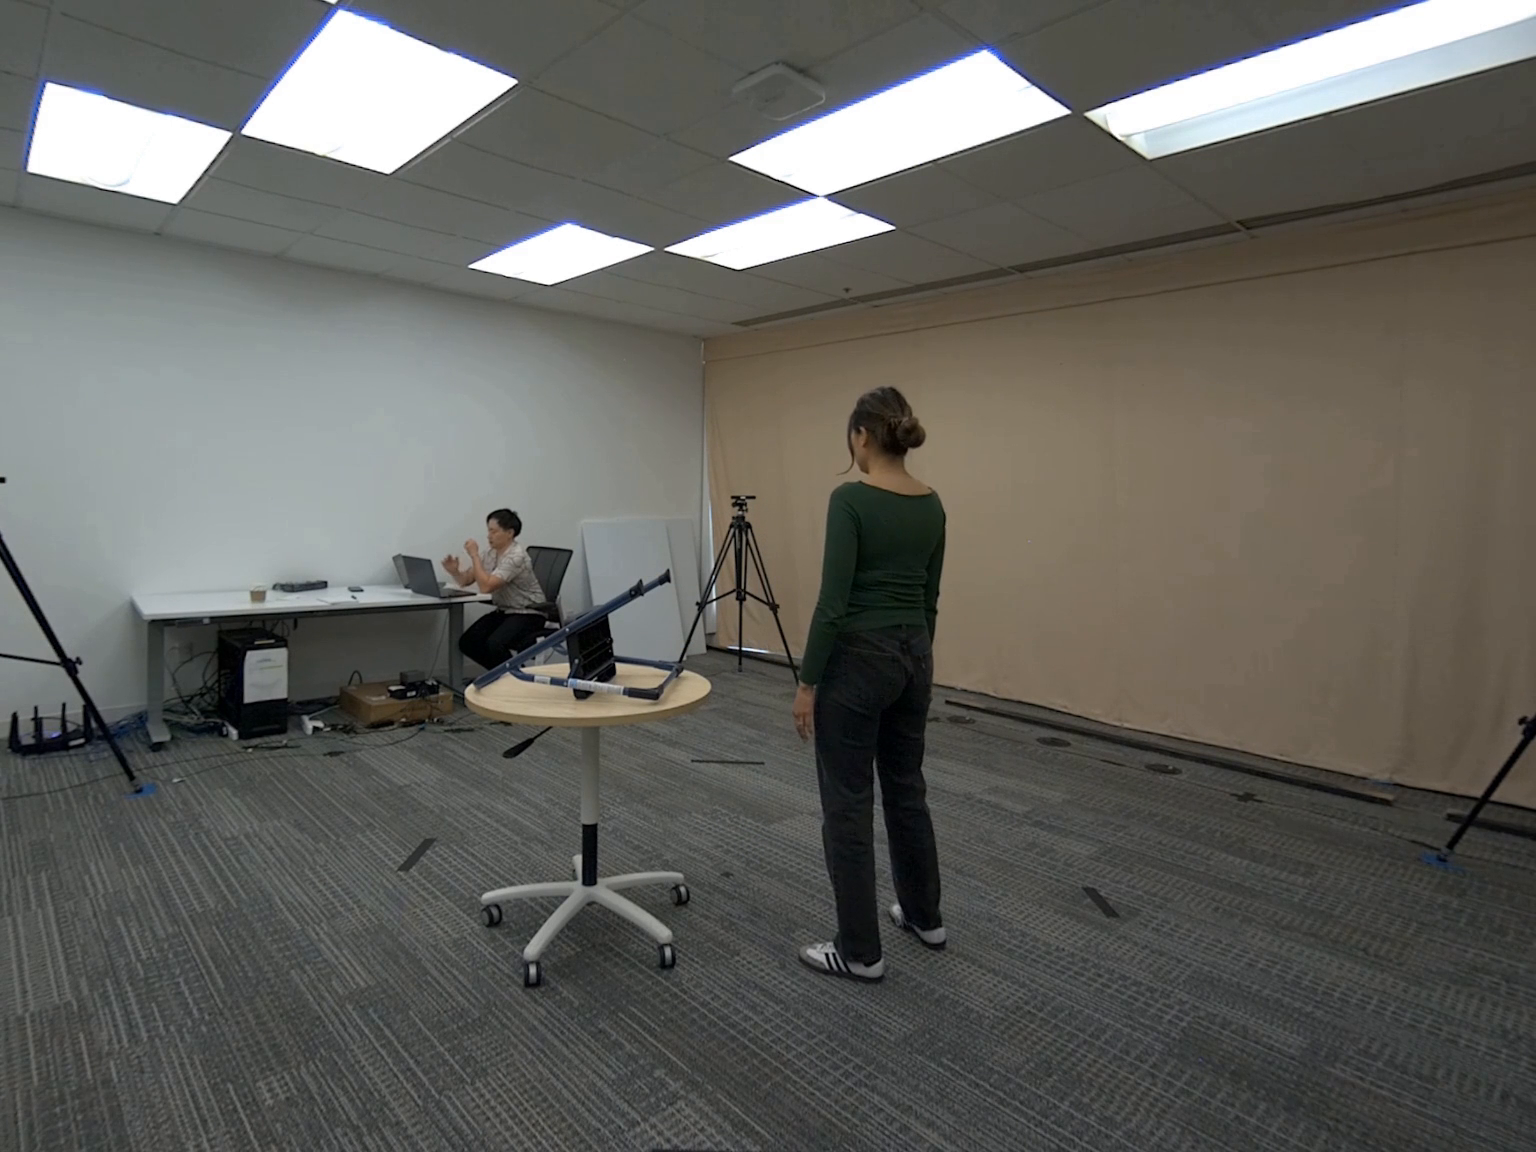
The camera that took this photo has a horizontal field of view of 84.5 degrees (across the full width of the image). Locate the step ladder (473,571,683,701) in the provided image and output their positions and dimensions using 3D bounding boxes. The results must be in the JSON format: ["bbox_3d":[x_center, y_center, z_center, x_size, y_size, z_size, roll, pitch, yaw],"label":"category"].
[{"bbox_3d":[-0.623,0.219,2.657,0.609,0.349,0.429,-9,3,7],"label":"step ladder"}]
